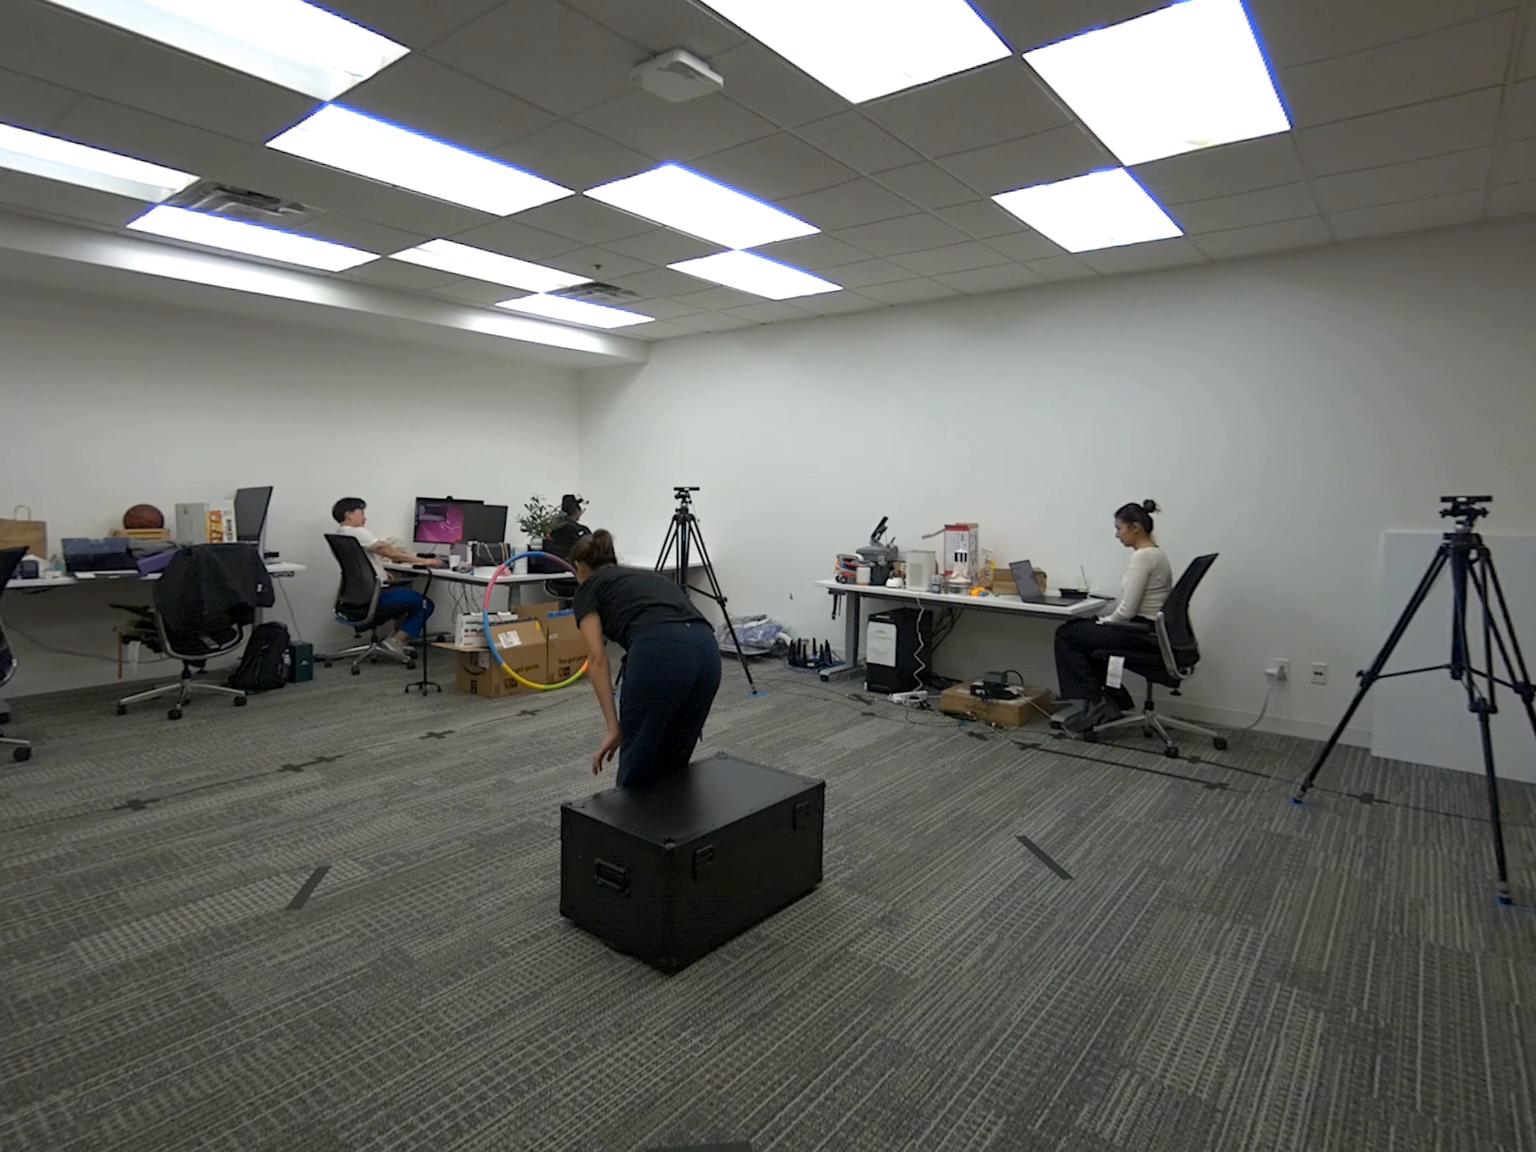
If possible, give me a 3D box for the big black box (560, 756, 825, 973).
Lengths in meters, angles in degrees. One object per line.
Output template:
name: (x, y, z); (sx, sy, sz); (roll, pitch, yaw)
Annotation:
big black box: (-0.199, 0.899, 2.862); (0.539, 0.394, 0.836); (5, 7, 39)
